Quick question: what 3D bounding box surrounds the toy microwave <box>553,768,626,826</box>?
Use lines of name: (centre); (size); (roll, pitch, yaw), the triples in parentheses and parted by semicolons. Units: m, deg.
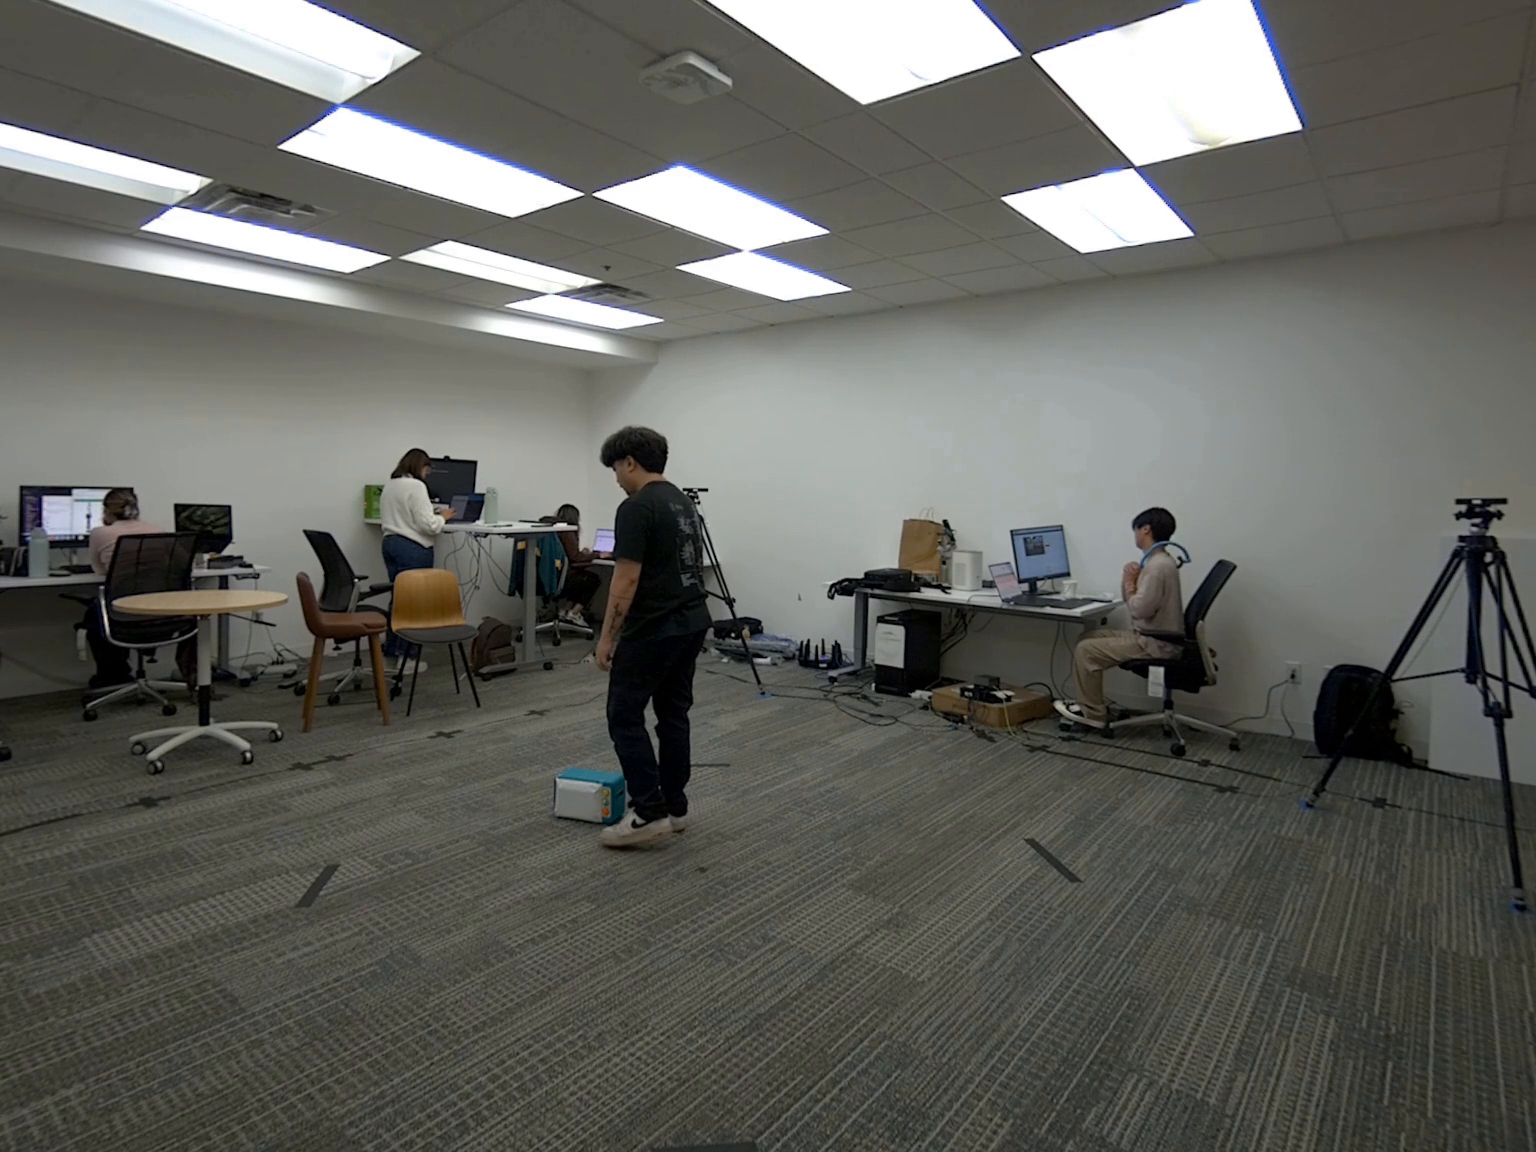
toy microwave: (-0.764, 0.924, 3.579); (0.291, 0.183, 0.150); (2, 4, 17)
